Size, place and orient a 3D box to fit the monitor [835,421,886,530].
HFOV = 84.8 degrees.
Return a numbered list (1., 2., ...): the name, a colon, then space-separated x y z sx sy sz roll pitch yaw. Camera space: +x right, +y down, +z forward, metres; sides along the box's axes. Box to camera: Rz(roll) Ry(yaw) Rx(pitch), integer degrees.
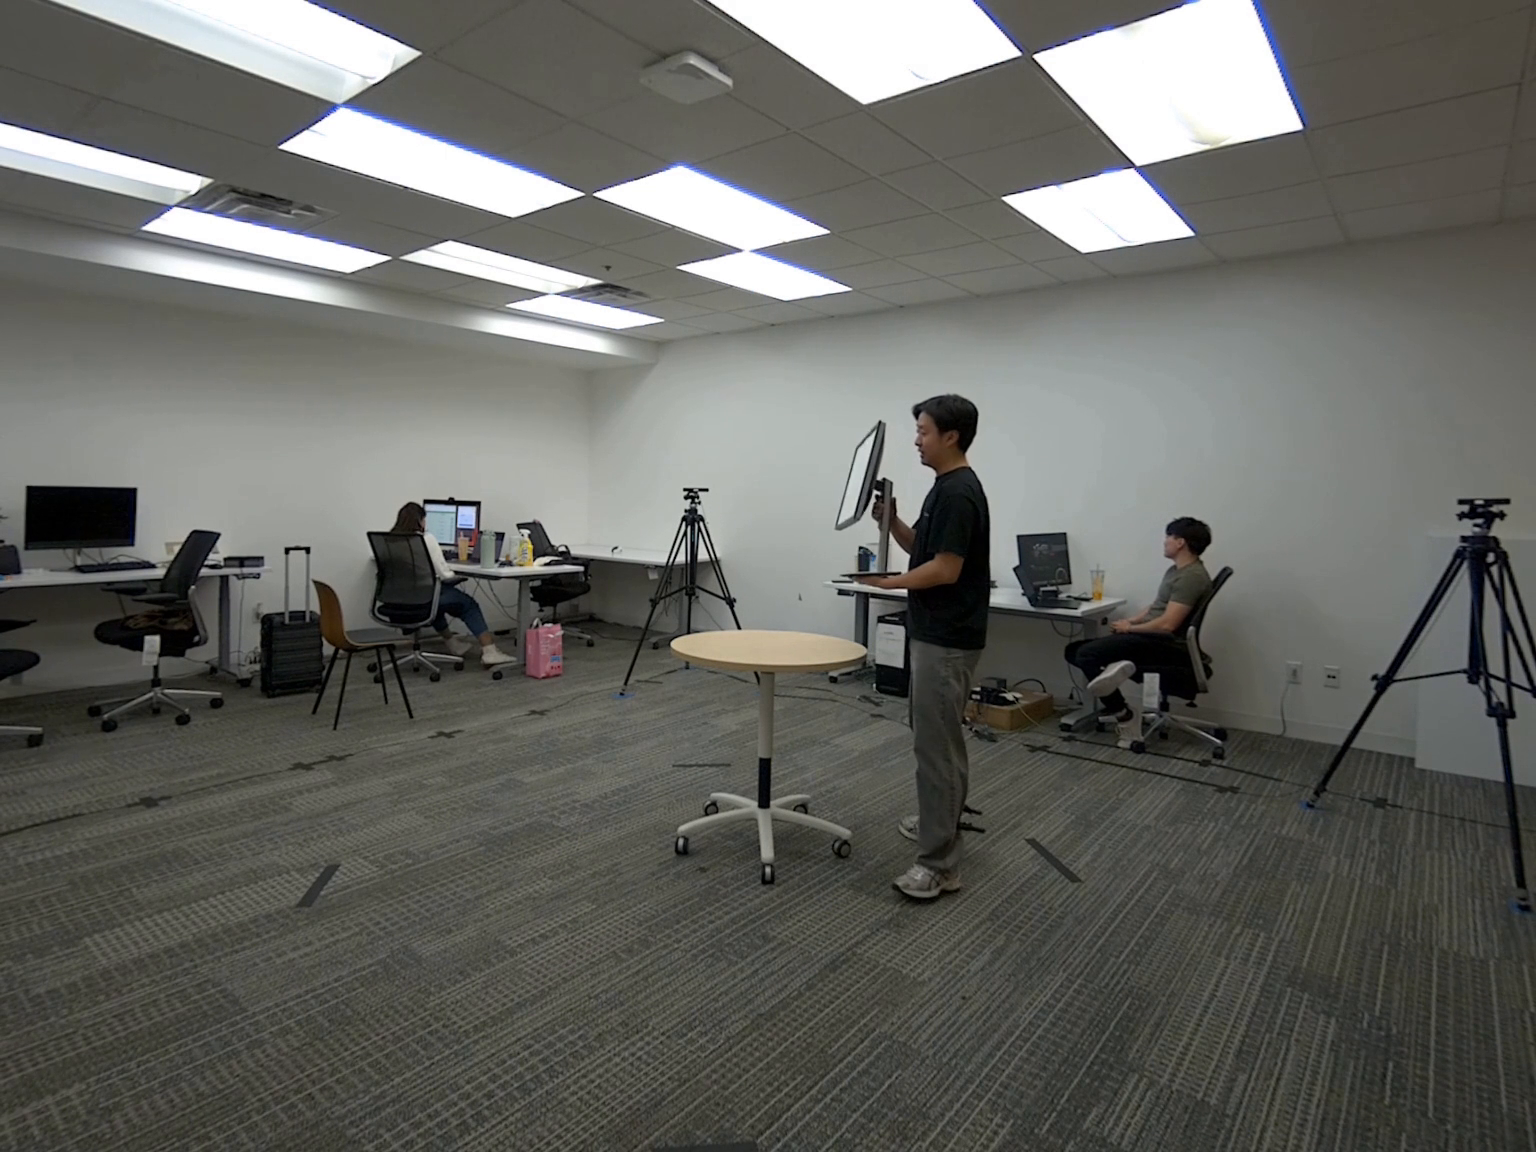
1. monitor: 0.375 -0.263 3.241 0.223 0.568 0.559 -1 -2 1
